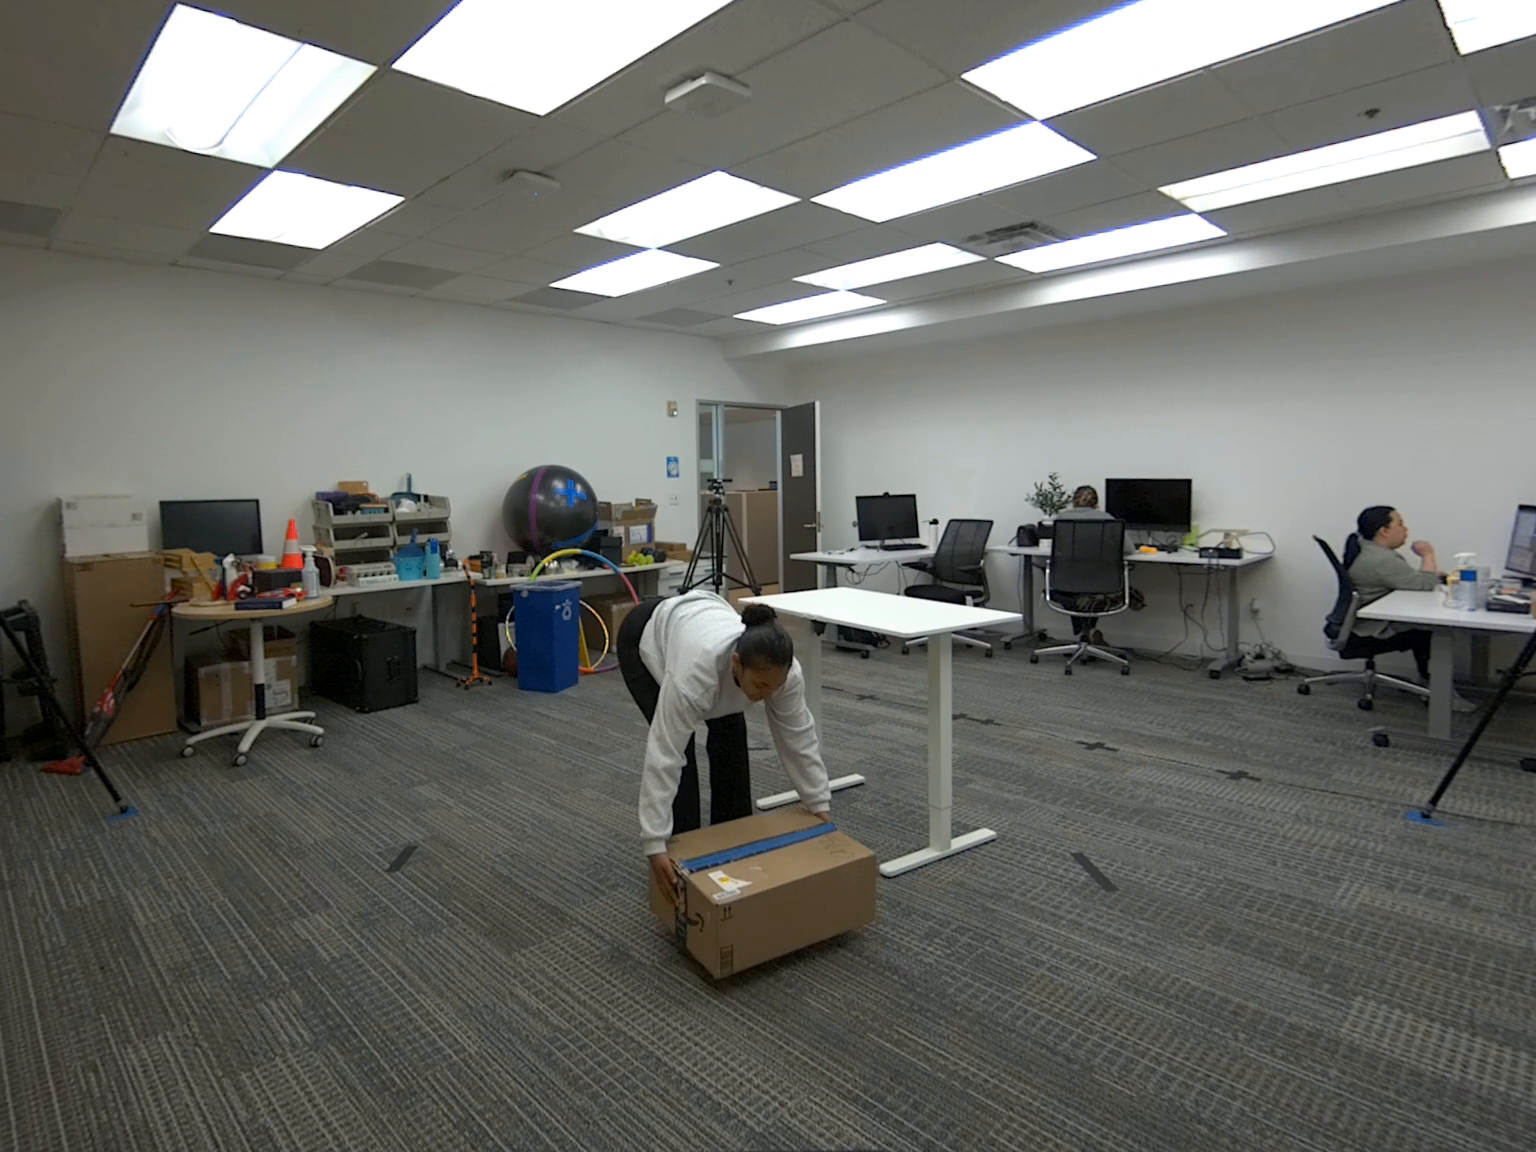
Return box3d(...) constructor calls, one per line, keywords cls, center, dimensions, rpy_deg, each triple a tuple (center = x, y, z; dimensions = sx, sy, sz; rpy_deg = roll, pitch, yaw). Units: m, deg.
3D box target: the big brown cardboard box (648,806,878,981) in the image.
box3d(cls="big brown cardboard box", center=(-0.021, 0.914, 2.592), dimensions=(0.574, 0.232, 0.430), rpy_deg=(-4, 9, -33))
